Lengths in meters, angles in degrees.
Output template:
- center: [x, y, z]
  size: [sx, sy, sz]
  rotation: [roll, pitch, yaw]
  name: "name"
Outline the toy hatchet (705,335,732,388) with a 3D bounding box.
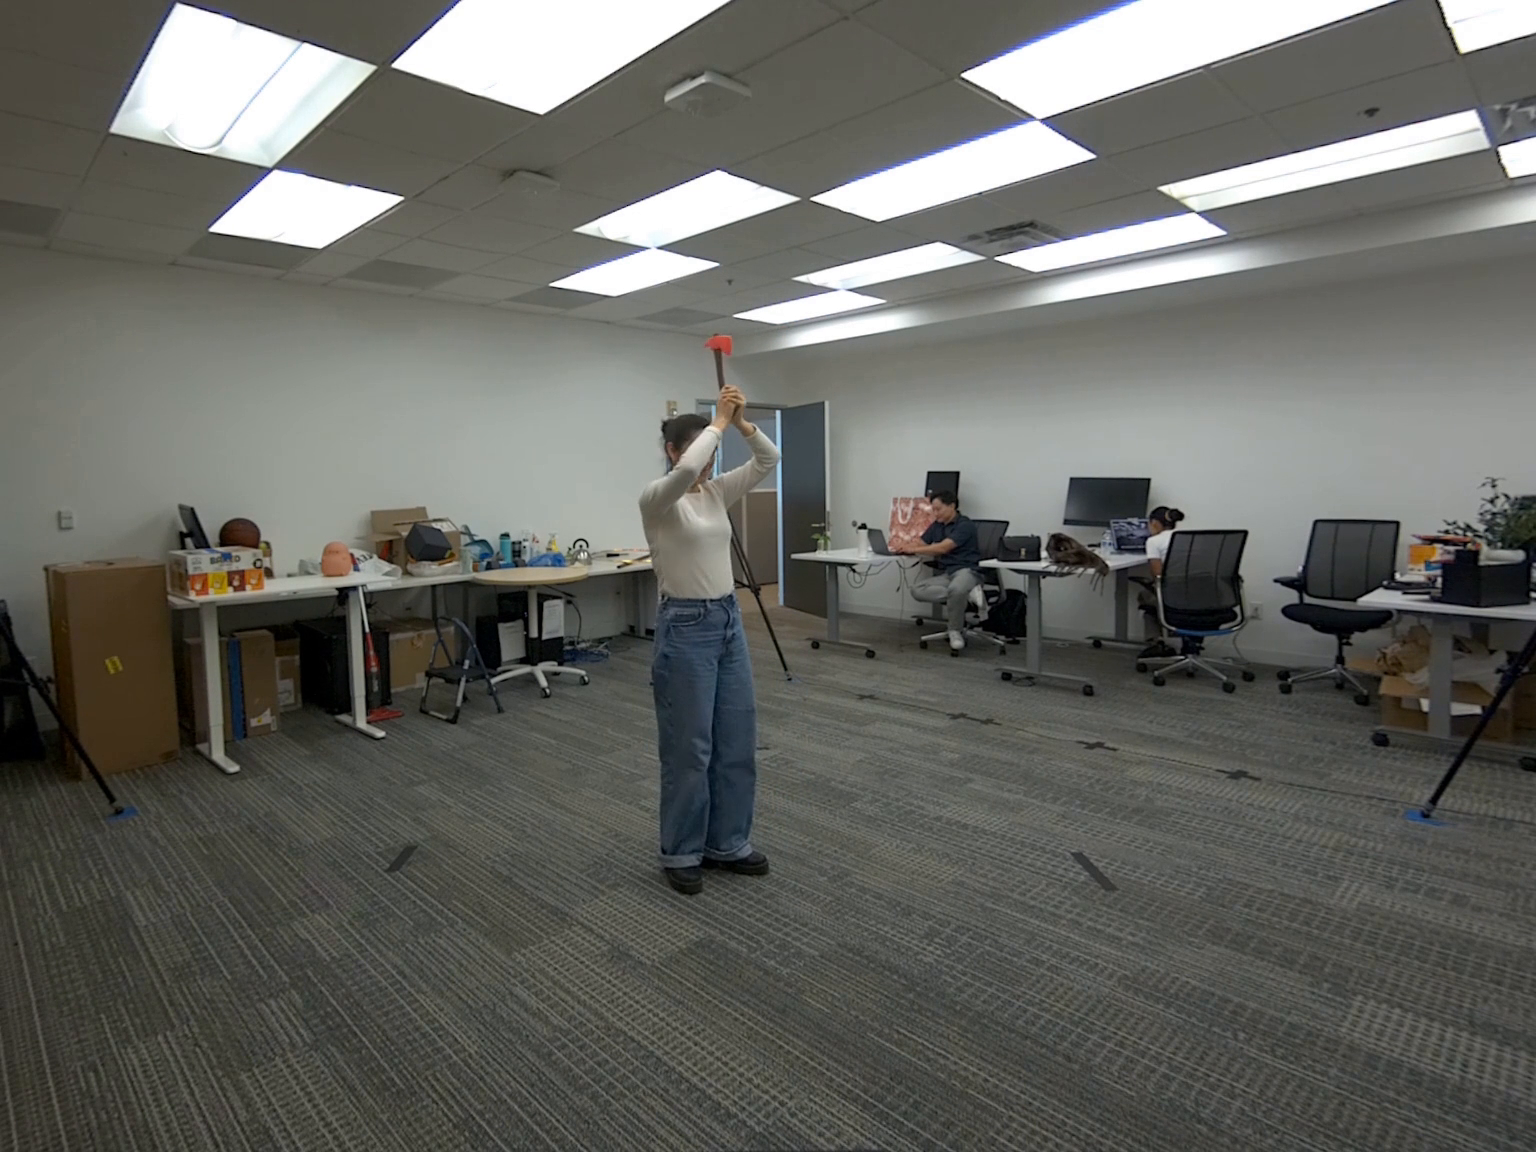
- center: [-0.131, -0.682, 2.836]
  size: [0.029, 0.273, 0.133]
  rotation: [-11, -11, -44]
  name: "toy hatchet"
